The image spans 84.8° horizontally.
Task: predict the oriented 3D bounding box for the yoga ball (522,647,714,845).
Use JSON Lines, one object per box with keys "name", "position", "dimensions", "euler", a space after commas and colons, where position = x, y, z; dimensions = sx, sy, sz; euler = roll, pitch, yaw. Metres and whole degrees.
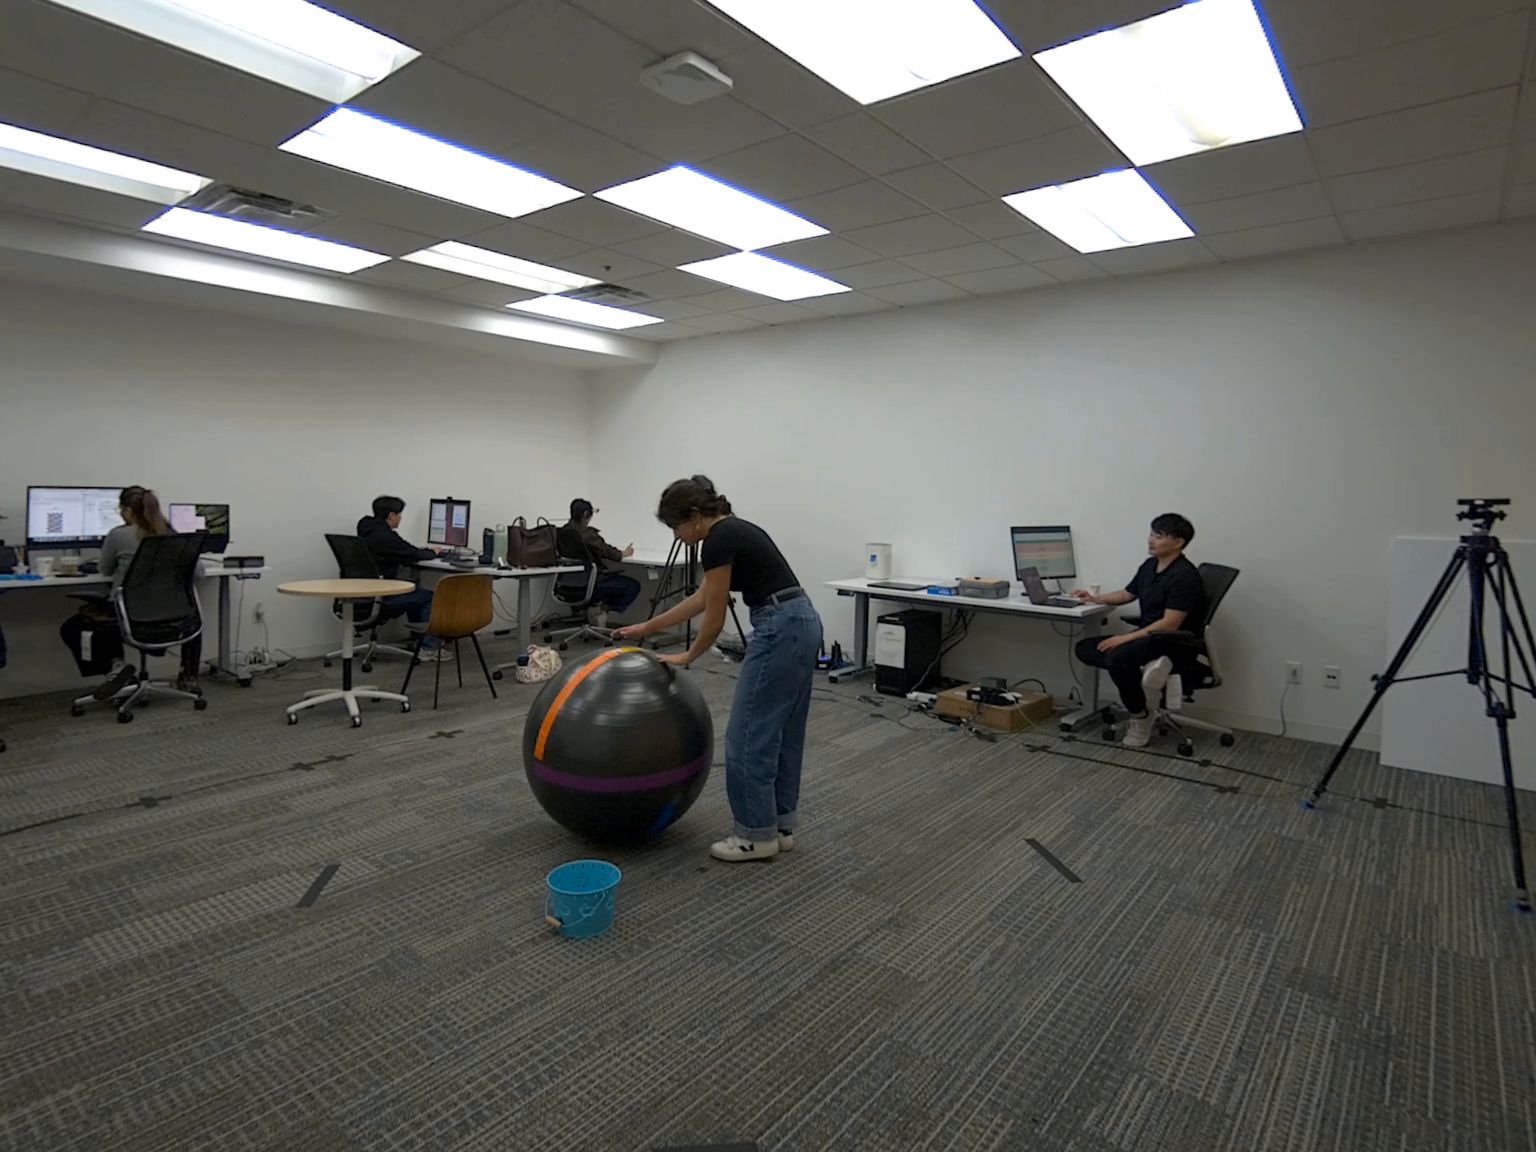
{"name": "yoga ball", "position": [-0.607, 0.669, 3.392], "dimensions": [0.757, 0.756, 0.762], "euler": [1, 4, -2]}
